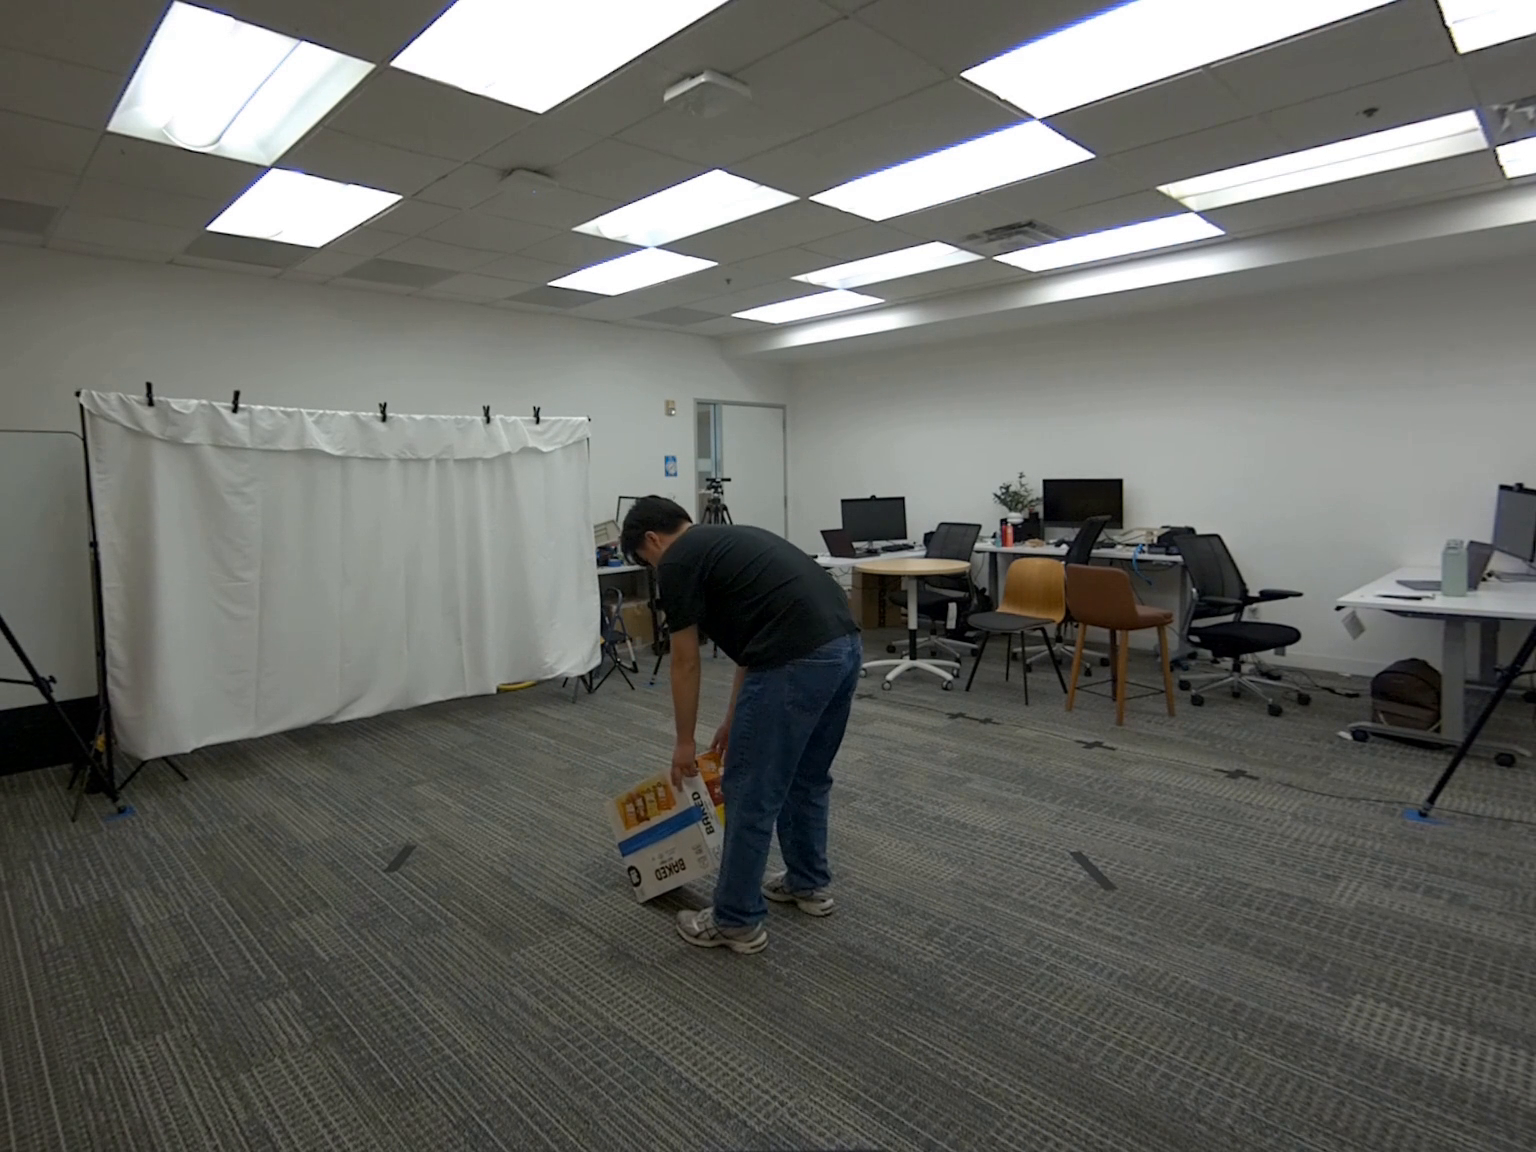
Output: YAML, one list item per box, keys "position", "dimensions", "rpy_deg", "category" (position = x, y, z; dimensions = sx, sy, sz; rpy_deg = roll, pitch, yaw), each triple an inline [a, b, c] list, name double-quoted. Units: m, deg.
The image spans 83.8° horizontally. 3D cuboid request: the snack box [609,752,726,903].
- position: [-0.297, 0.829, 2.828]
  dimensions: [0.408, 0.347, 0.200]
  rpy_deg: [-36, -20, 35]
  category: "snack box"
